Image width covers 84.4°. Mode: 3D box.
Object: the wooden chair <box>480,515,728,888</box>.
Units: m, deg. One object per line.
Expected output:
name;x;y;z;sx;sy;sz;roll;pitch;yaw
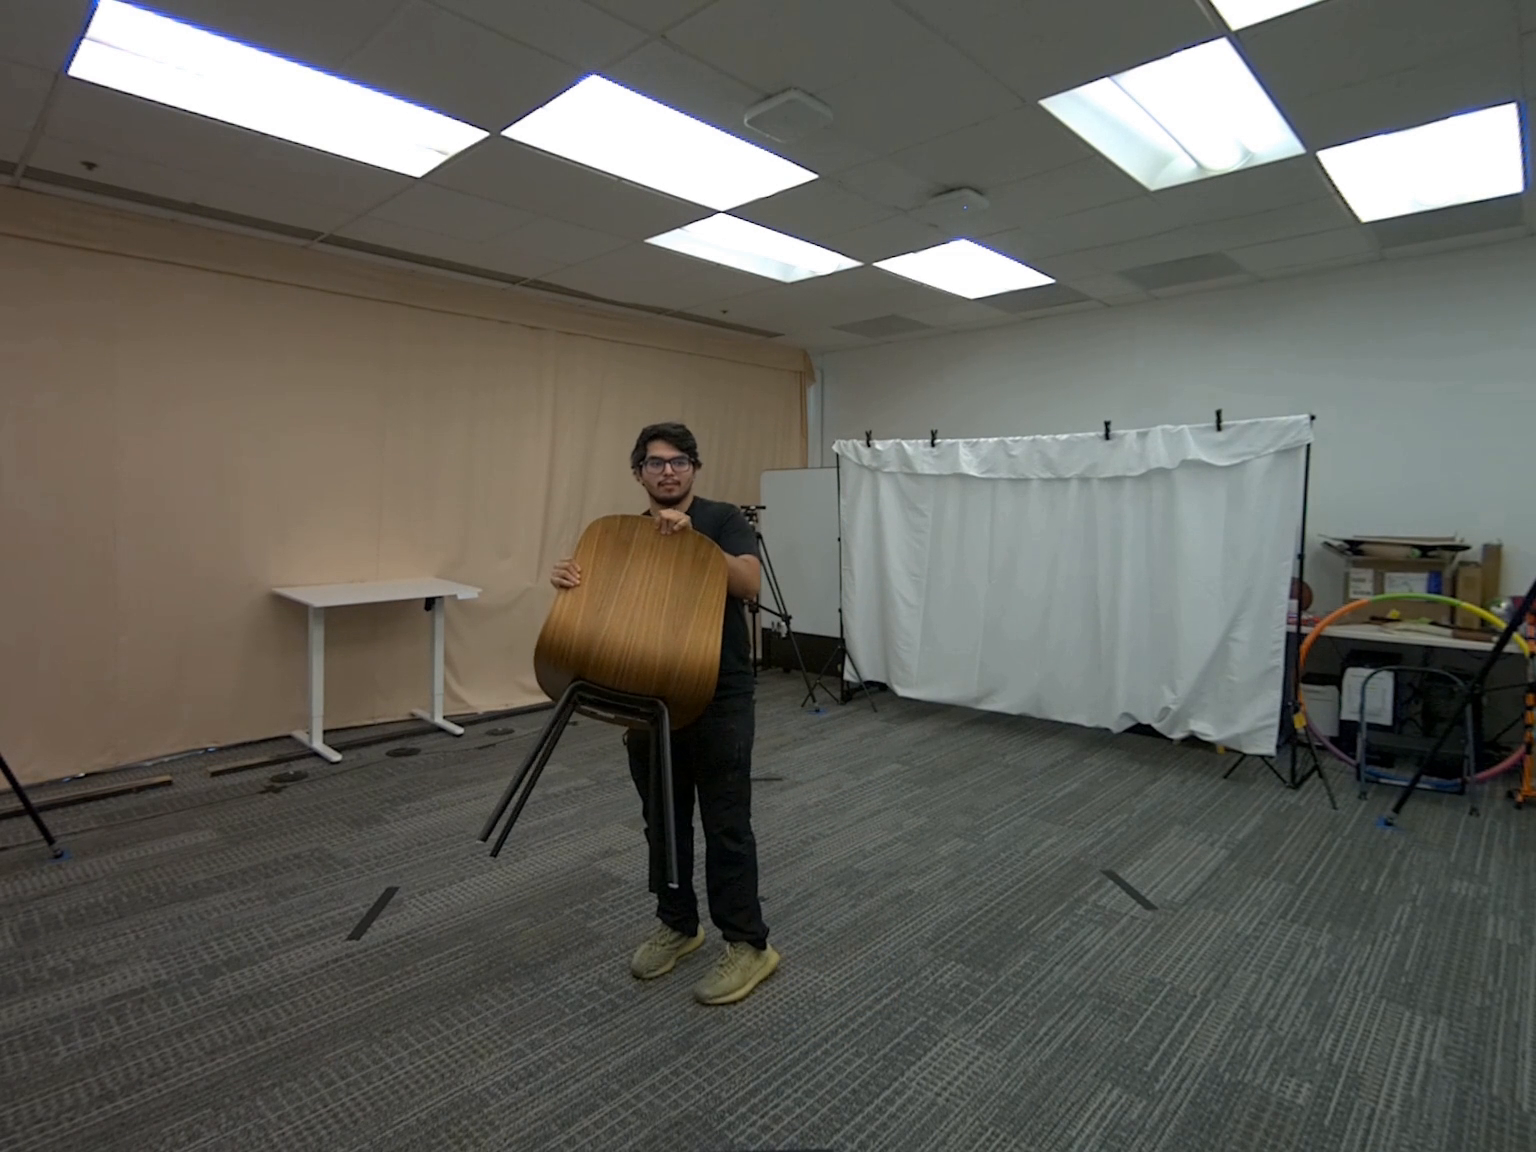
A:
wooden chair;-0.400;0.343;2.229;0.475;0.884;0.523;14;-22;-7
